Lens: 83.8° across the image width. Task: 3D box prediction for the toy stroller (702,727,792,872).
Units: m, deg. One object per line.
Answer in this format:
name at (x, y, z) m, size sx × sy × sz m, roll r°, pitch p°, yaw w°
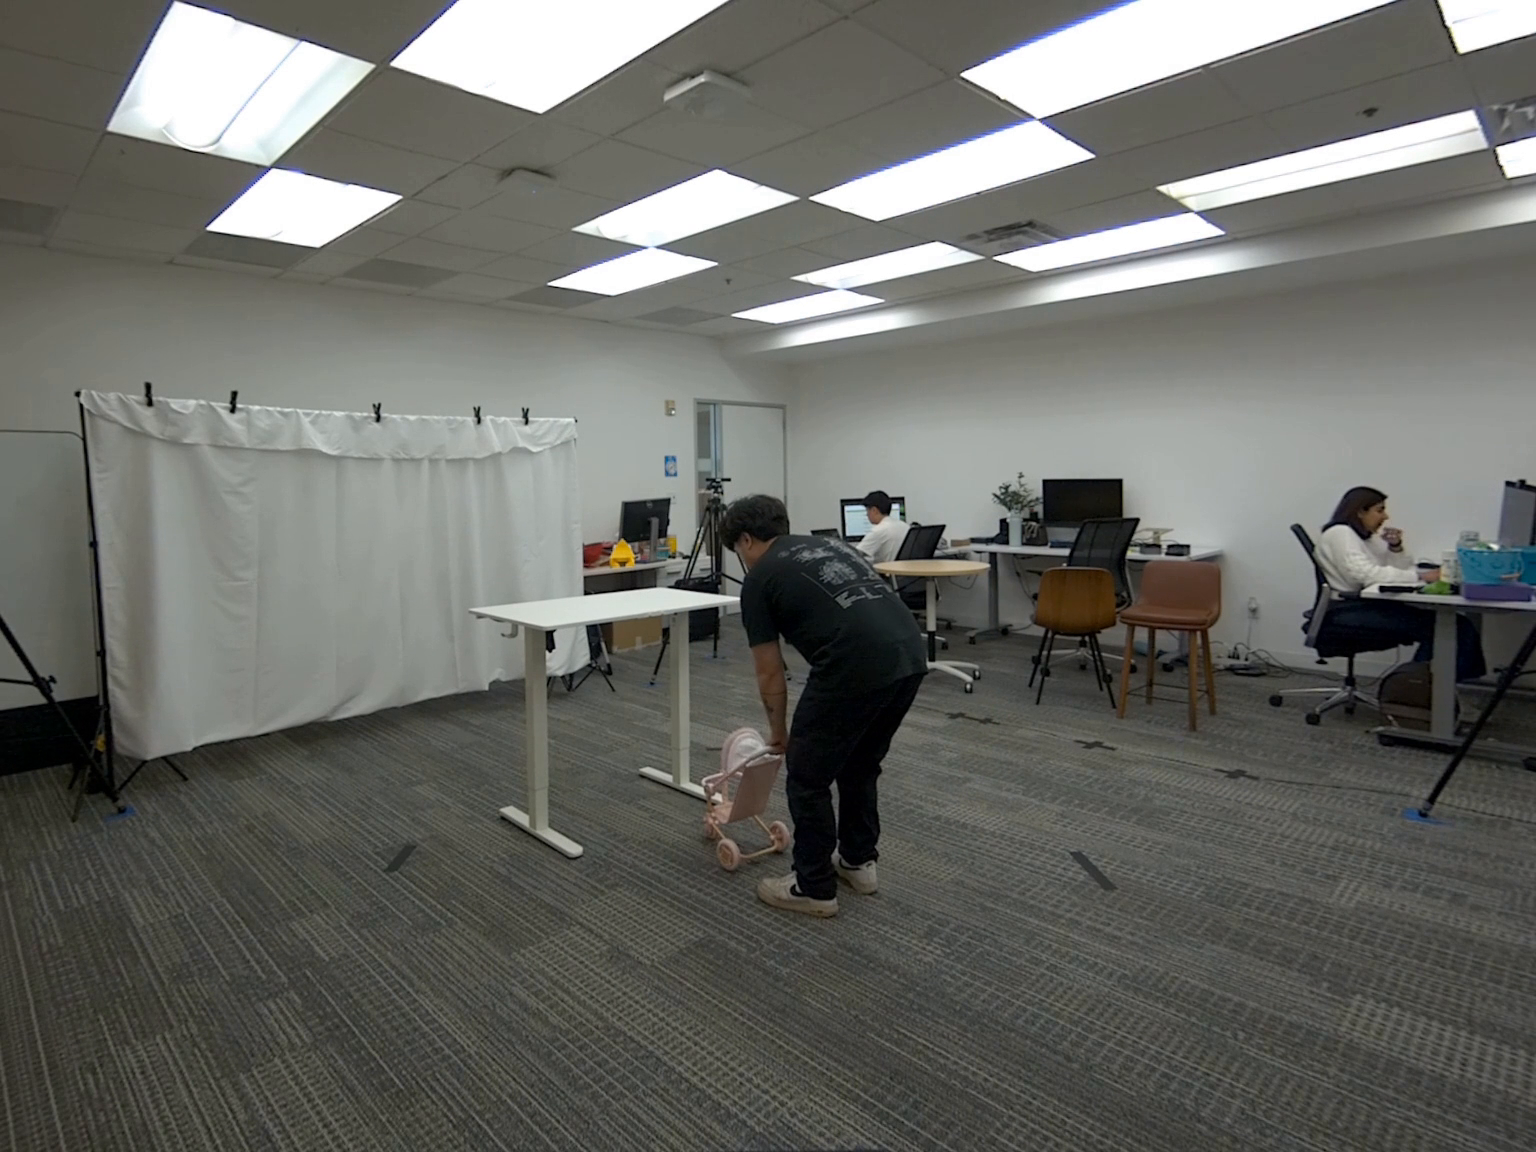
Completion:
toy stroller at (-0.093, 0.804, 3.168) m, size 0.274 × 0.529 × 0.354 m, roll -3°, pitch 18°, yaw -38°
